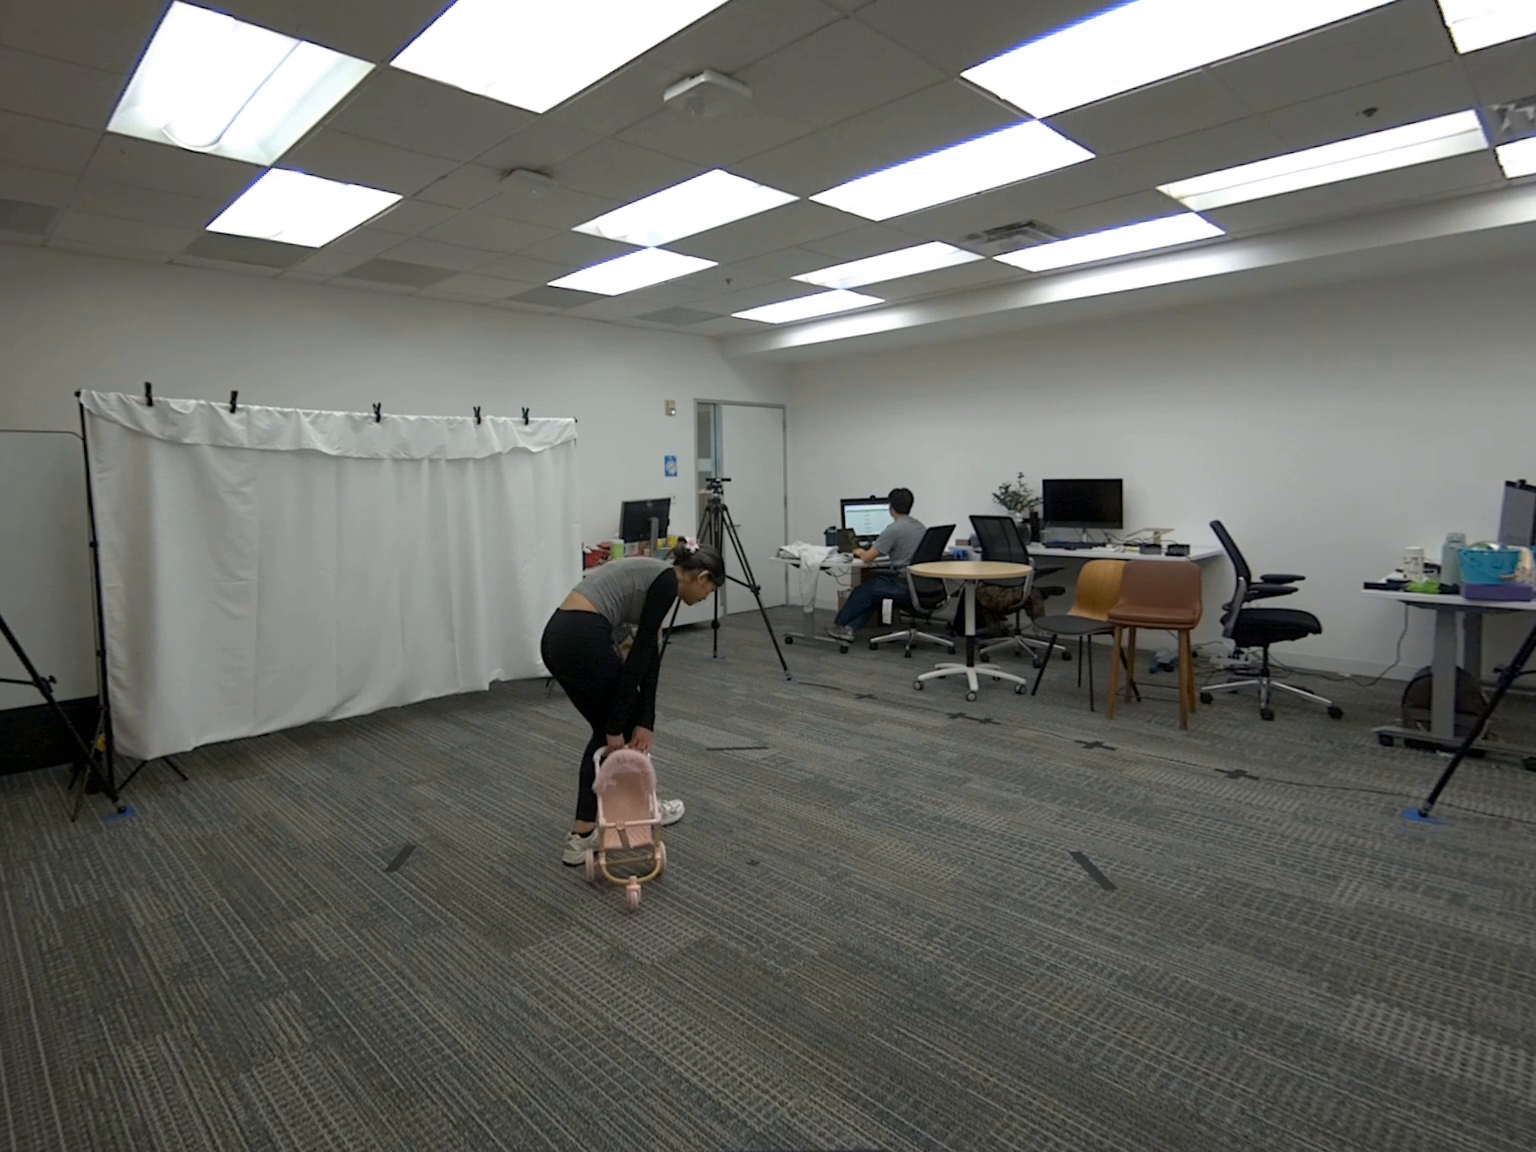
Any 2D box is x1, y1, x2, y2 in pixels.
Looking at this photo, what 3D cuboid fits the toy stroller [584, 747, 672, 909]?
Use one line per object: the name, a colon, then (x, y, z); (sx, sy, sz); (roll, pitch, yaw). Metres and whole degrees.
toy stroller: (-0.483, 0.842, 2.947); (0.279, 0.543, 0.340); (-1, -15, -11)
